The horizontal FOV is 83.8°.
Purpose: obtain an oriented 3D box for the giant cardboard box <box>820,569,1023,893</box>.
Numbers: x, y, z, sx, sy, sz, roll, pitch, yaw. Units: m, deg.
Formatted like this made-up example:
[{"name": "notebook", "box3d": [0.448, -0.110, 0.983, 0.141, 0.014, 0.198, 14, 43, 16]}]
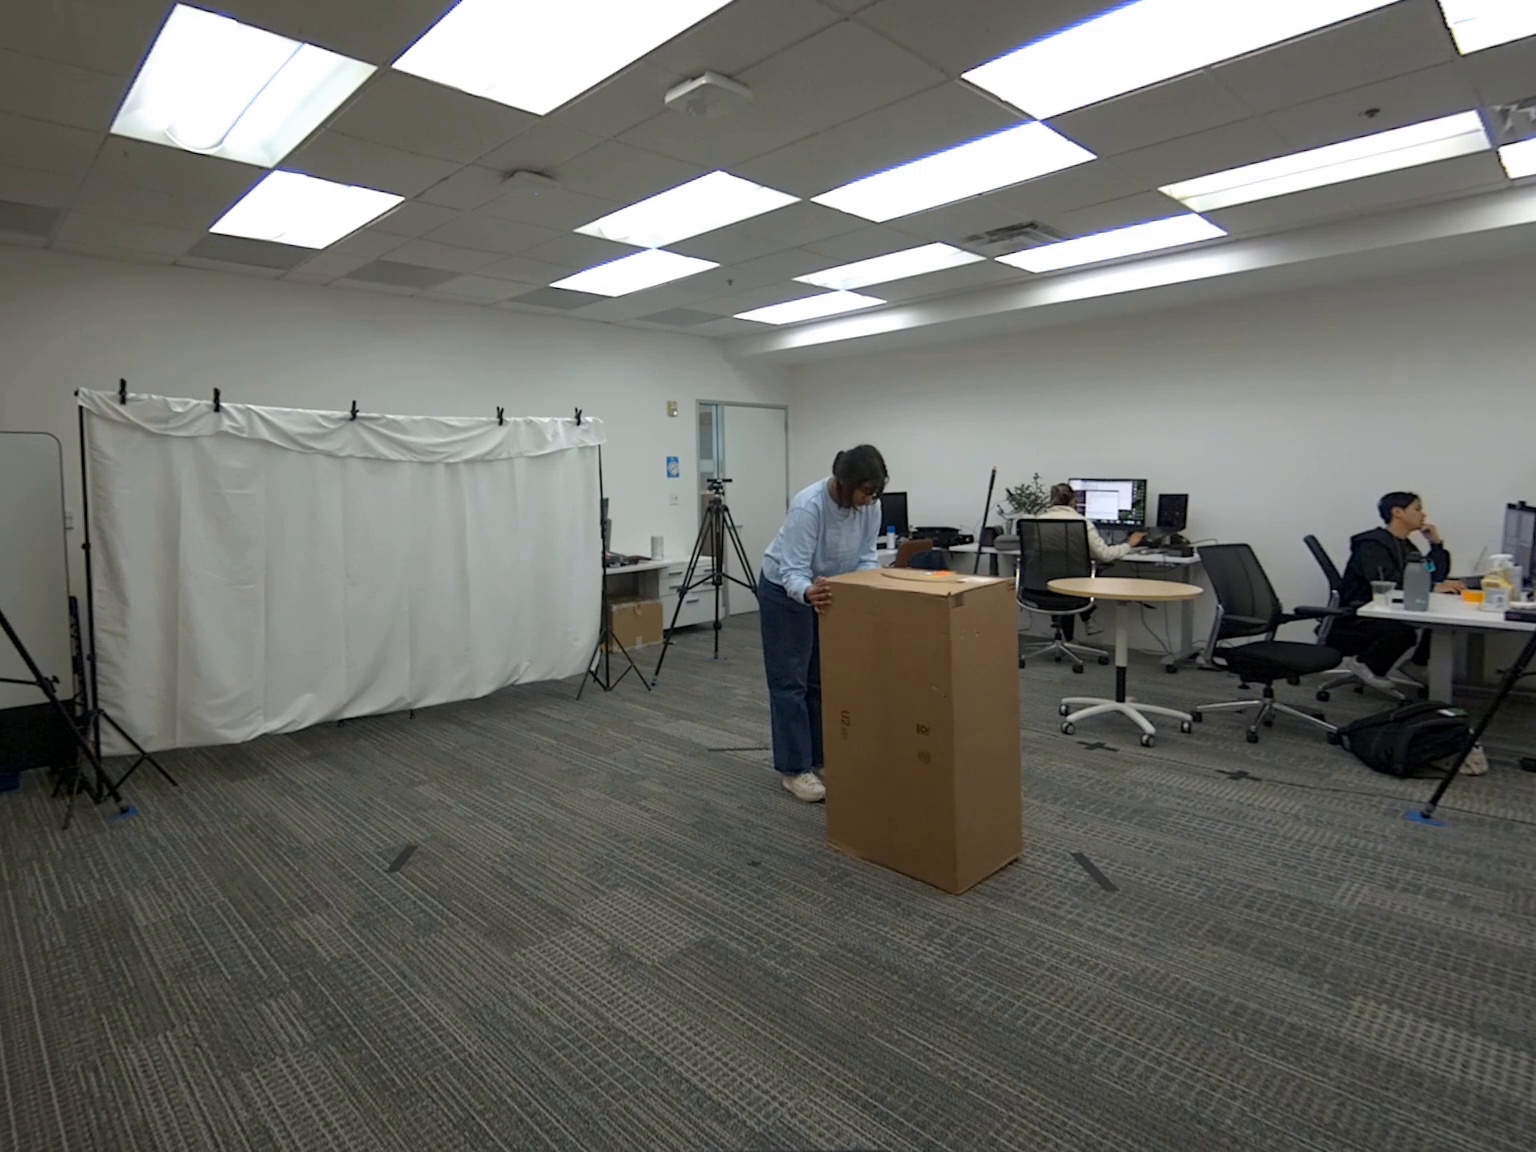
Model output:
[{"name": "giant cardboard box", "box3d": [0.560, 0.521, 3.145, 0.415, 1.020, 0.595, -8, 8, -43]}]
